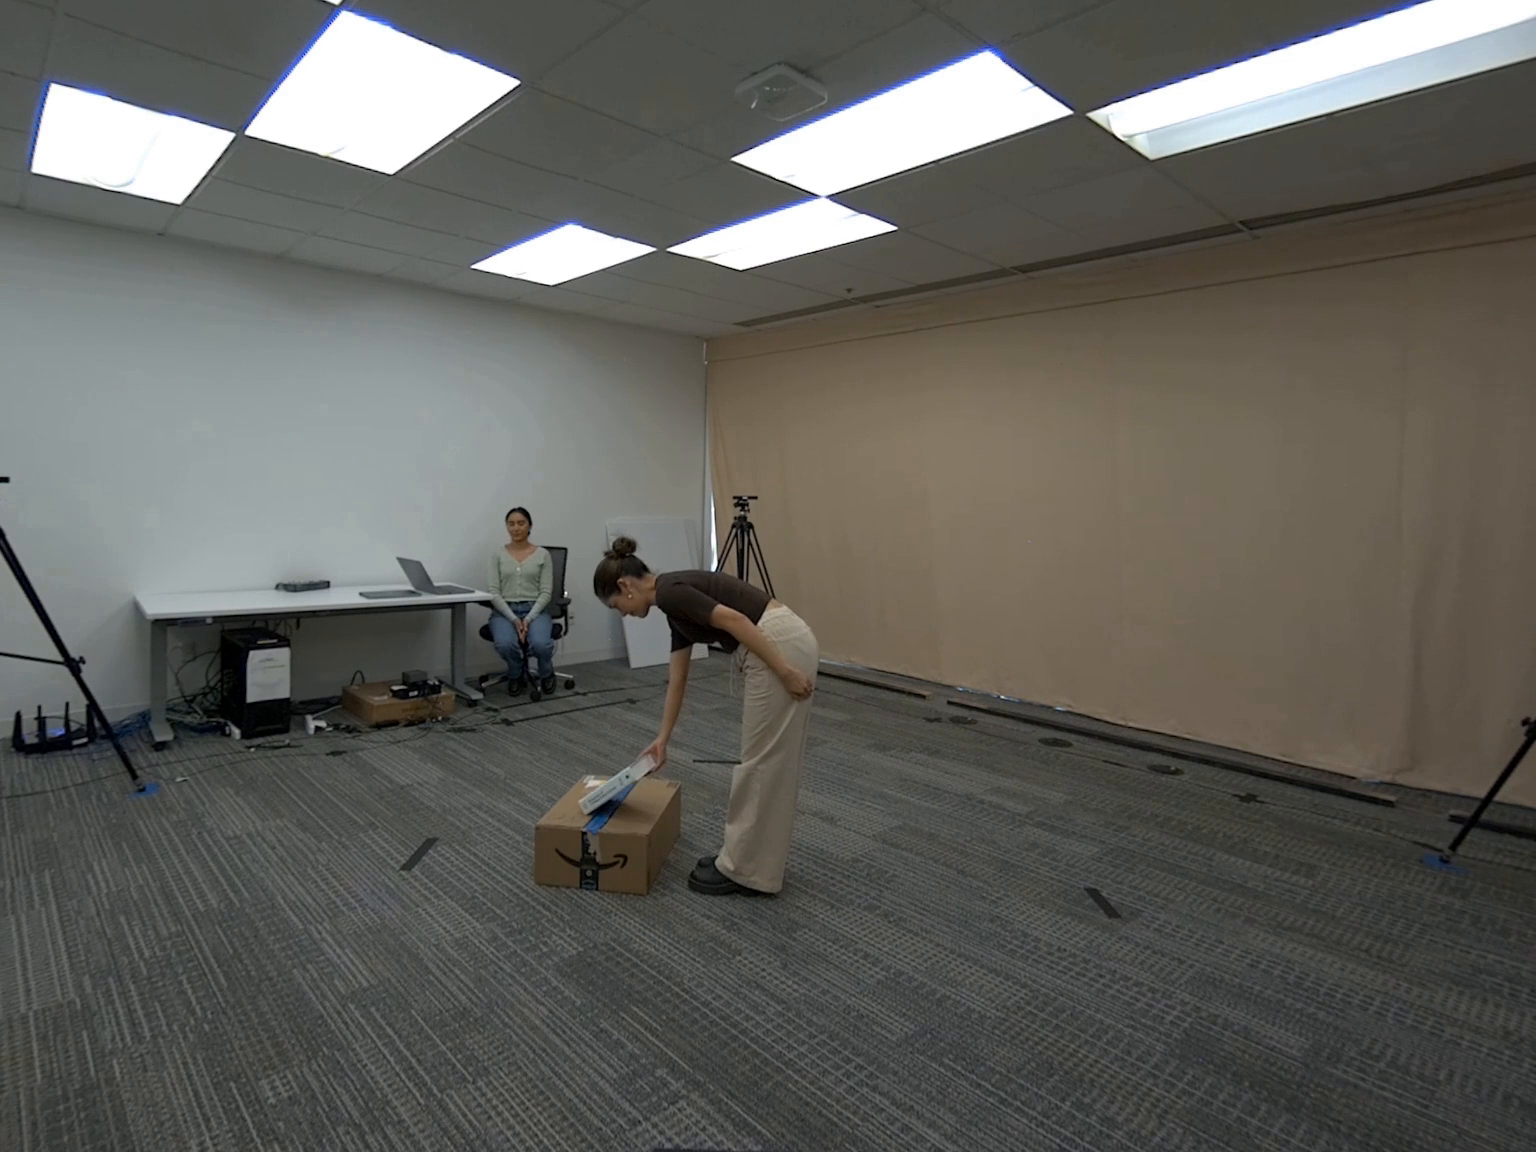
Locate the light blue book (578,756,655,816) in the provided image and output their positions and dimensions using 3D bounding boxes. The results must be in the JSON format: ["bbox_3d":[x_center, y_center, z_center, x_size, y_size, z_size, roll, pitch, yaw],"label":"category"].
[{"bbox_3d":[-0.559,0.770,3.149,0.262,0.059,0.189,-36,-6,17],"label":"light blue book"}]
